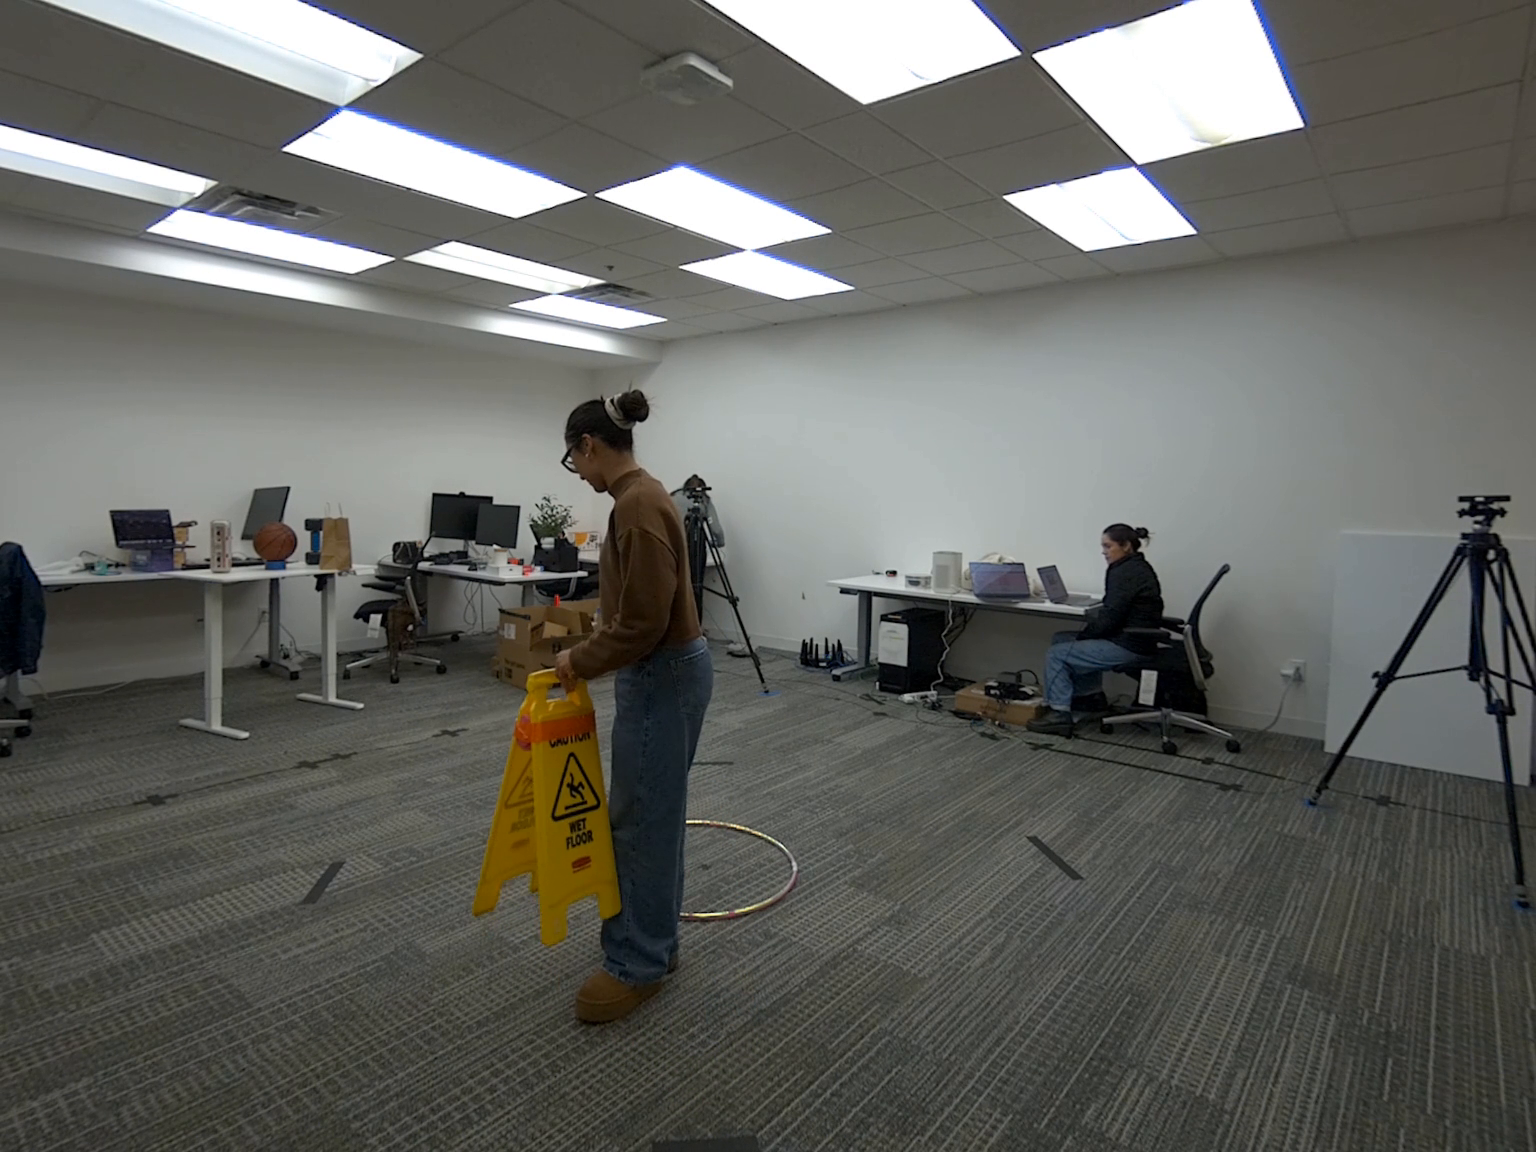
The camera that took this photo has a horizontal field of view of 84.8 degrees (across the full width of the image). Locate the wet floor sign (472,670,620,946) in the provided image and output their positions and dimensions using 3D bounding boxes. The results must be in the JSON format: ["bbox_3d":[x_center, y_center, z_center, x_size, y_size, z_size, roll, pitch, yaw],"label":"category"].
[{"bbox_3d":[-0.580,0.576,2.269,0.298,0.647,0.273,1,-2,32],"label":"wet floor sign"}]
